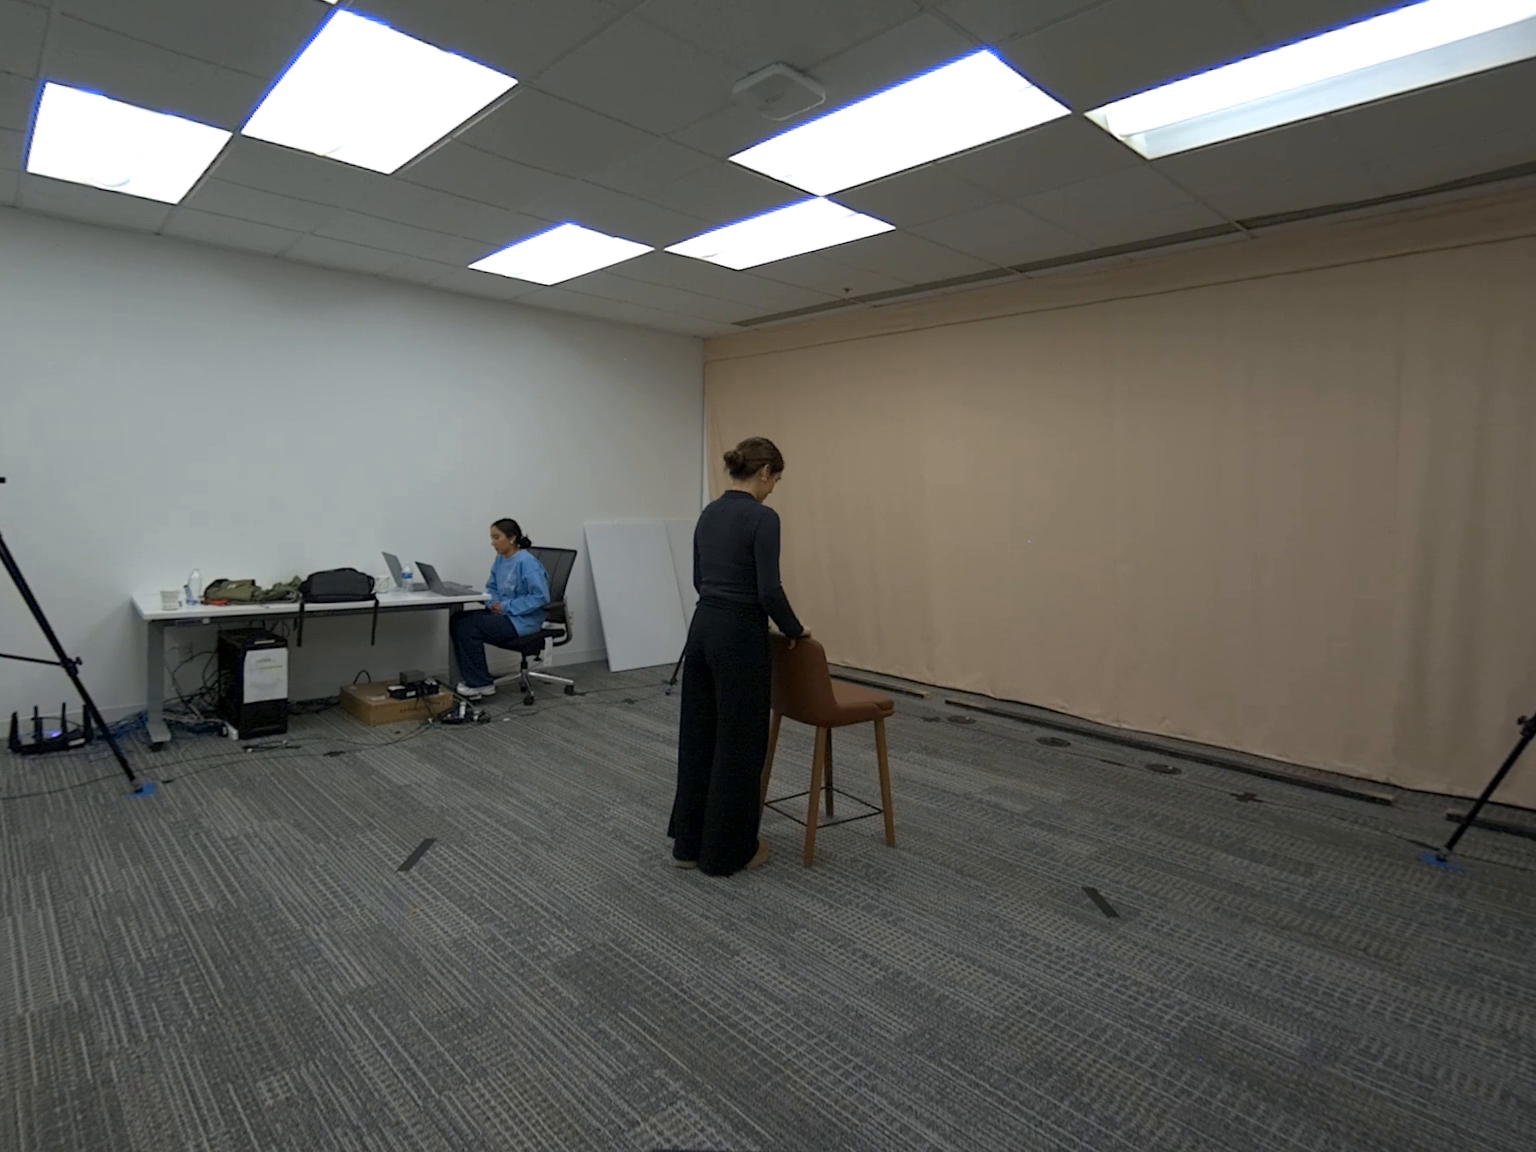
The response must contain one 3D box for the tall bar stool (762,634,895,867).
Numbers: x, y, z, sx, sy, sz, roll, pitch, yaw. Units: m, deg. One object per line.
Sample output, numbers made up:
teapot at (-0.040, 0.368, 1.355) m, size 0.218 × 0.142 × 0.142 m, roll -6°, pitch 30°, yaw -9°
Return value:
tall bar stool at (0.209, 0.643, 3.409) m, size 0.458 × 0.887 × 0.468 m, roll -3°, pitch 6°, yaw -35°
